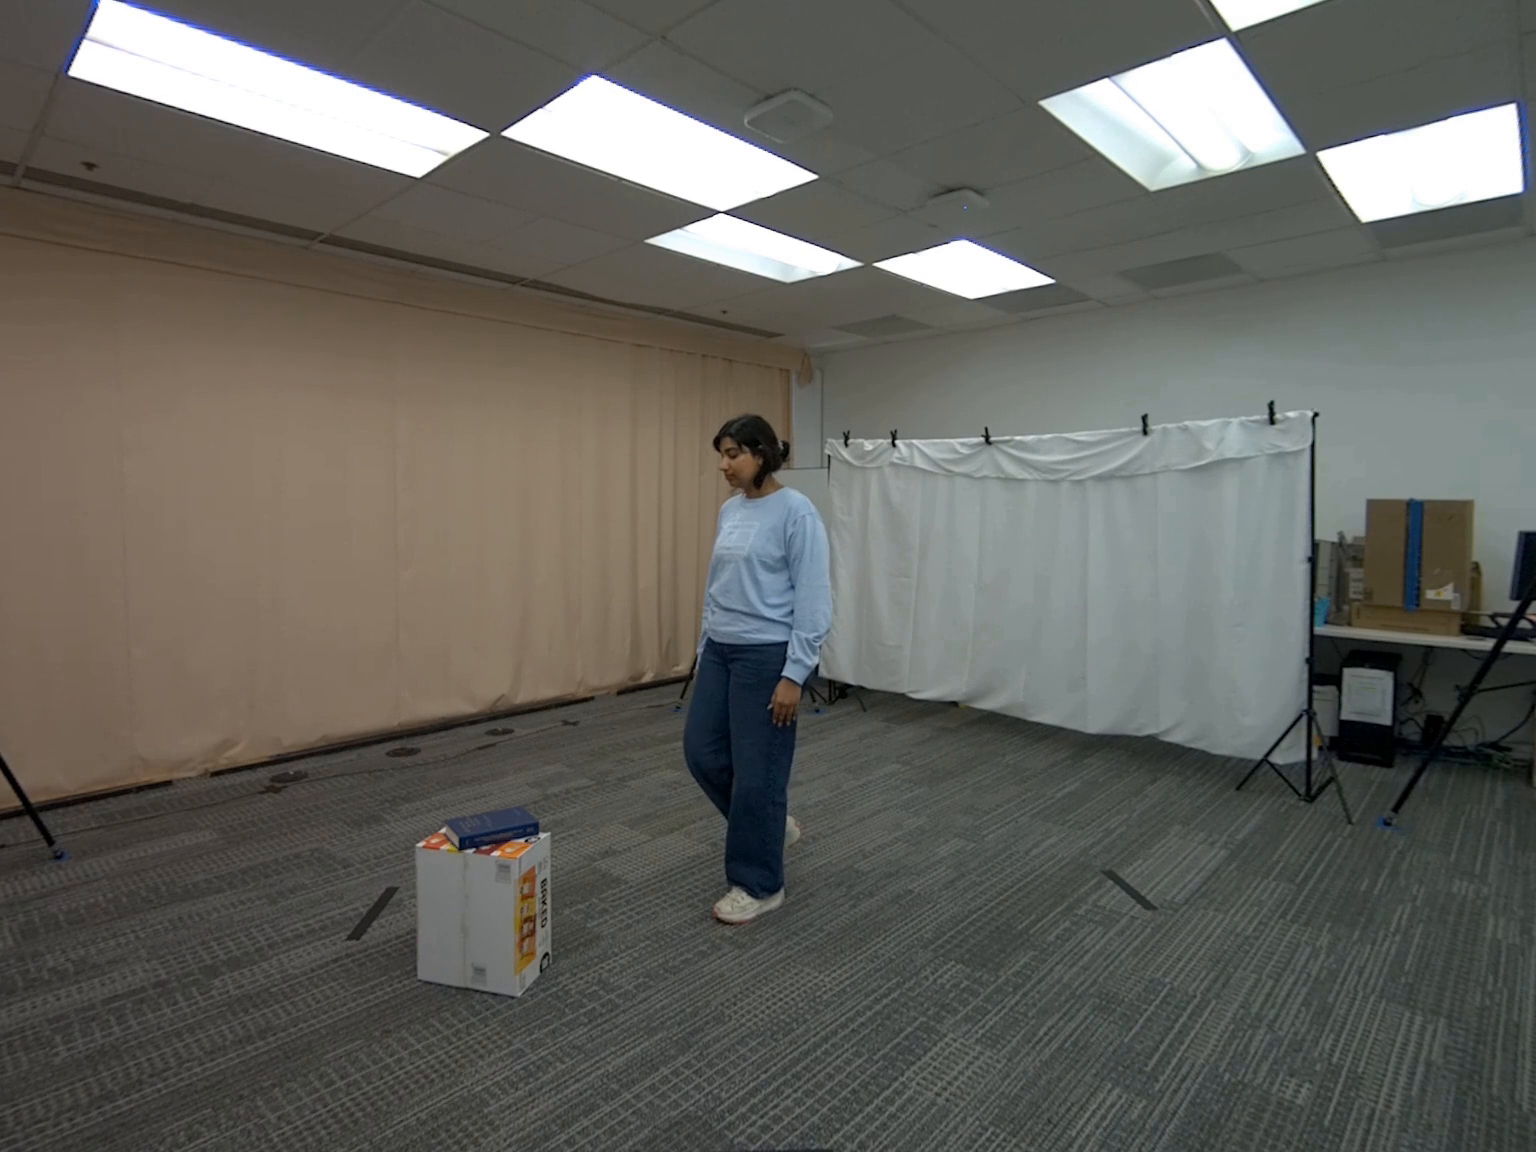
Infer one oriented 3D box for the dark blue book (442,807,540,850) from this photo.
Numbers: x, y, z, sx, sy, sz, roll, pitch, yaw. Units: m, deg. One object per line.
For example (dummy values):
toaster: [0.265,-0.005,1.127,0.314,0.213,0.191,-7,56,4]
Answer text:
dark blue book: [-0.840,0.760,2.542,0.238,0.045,0.168,-2,4,-35]
